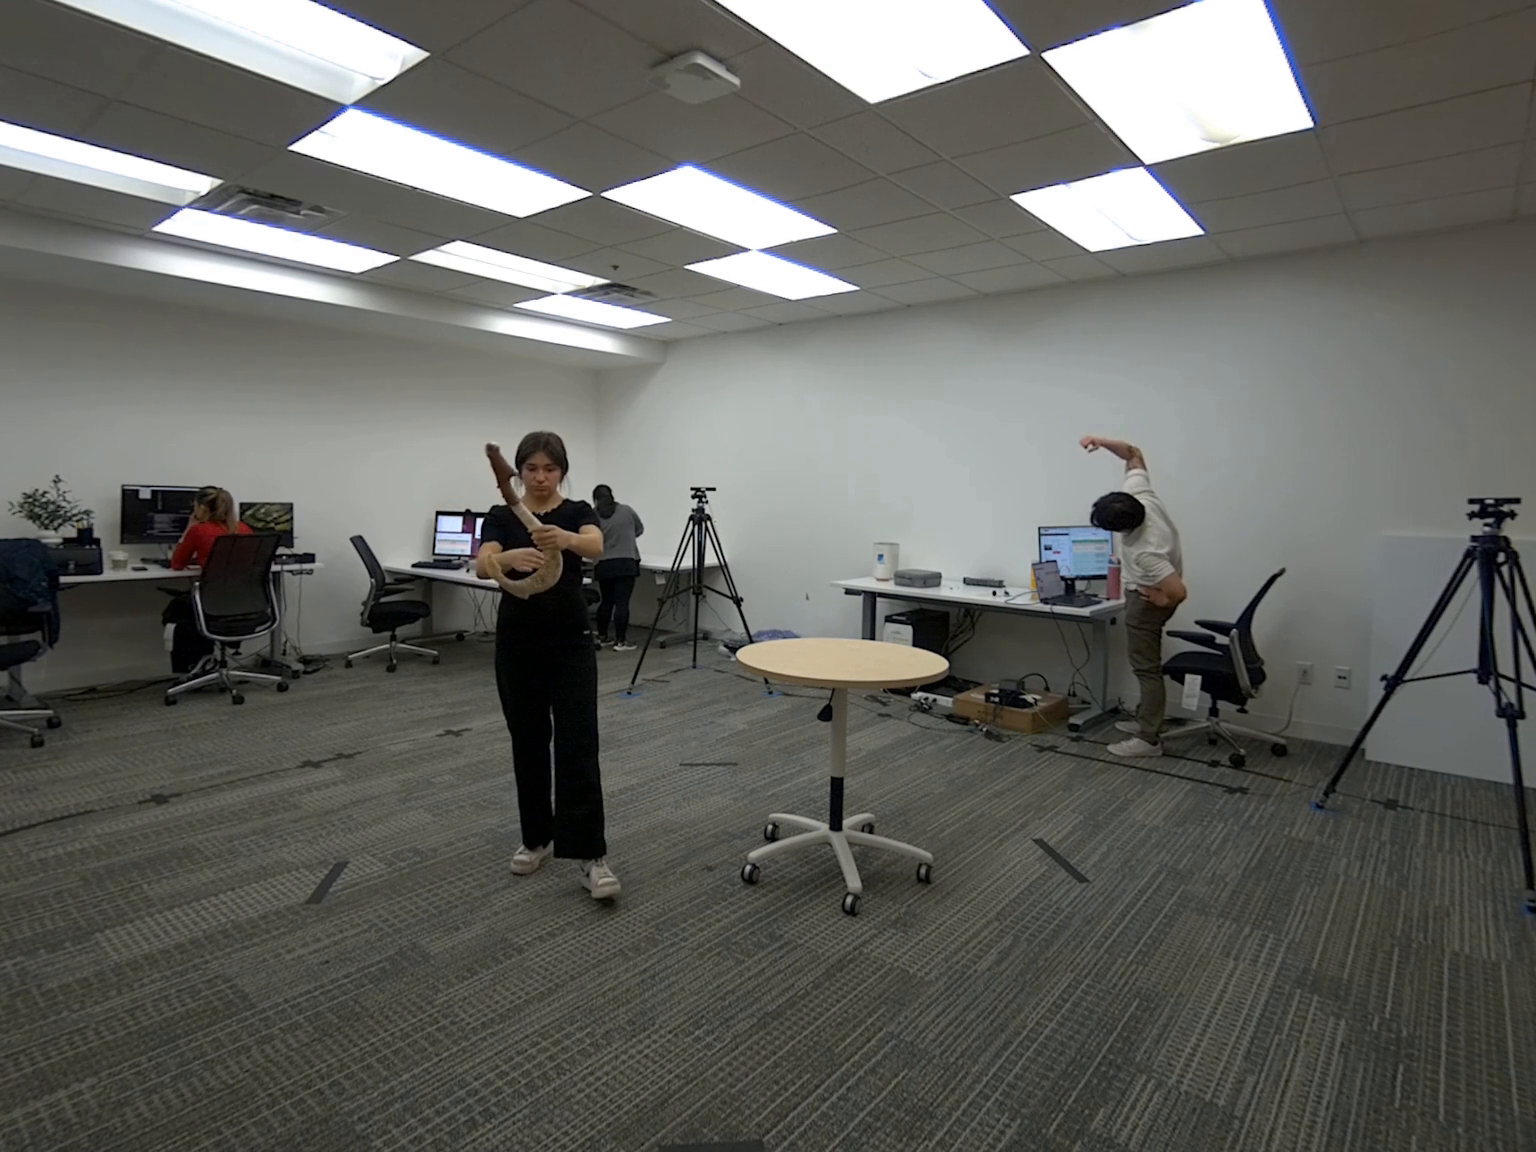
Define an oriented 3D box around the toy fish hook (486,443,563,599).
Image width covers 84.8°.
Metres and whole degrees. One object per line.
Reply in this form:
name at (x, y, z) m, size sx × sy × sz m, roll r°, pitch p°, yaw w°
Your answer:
toy fish hook at (-0.802, -0.156, 2.554) m, size 0.222 × 0.492 × 0.050 m, roll -24°, pitch 27°, yaw -17°
